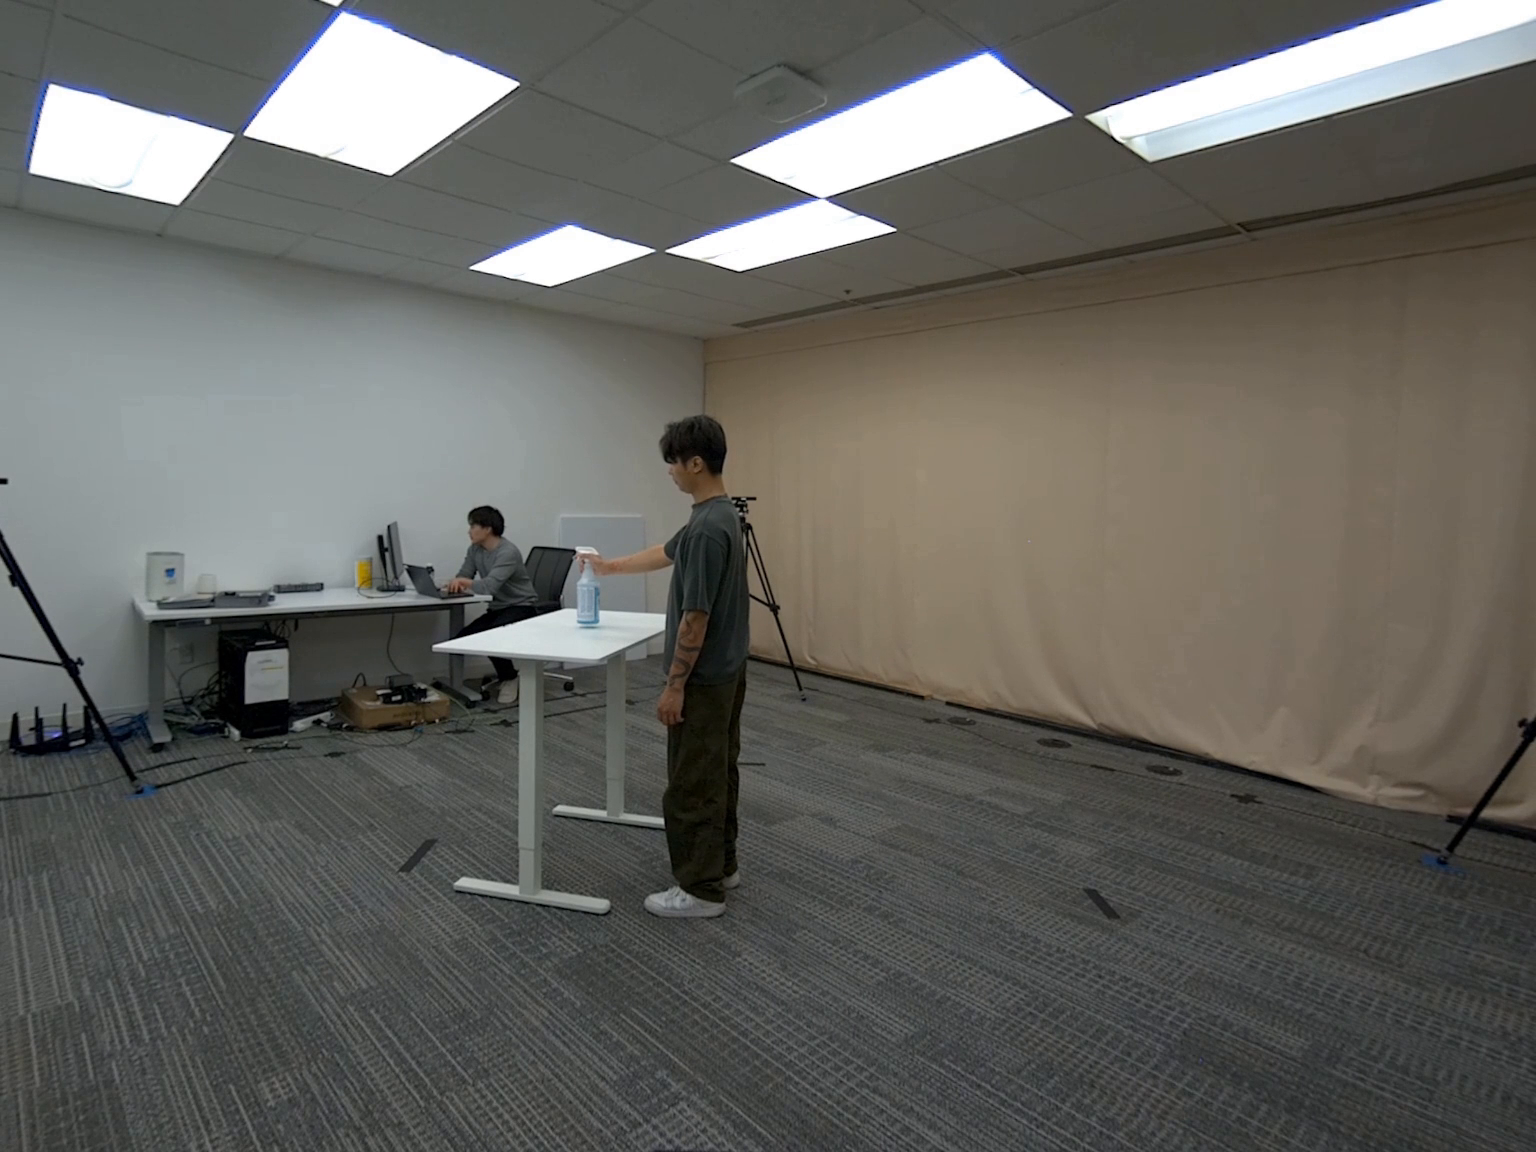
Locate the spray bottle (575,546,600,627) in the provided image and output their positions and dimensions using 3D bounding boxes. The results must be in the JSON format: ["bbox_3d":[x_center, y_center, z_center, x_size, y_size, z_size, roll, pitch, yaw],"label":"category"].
[{"bbox_3d":[-0.702,0.038,3.248,0.092,0.297,0.085,-2,0,37],"label":"spray bottle"}]
